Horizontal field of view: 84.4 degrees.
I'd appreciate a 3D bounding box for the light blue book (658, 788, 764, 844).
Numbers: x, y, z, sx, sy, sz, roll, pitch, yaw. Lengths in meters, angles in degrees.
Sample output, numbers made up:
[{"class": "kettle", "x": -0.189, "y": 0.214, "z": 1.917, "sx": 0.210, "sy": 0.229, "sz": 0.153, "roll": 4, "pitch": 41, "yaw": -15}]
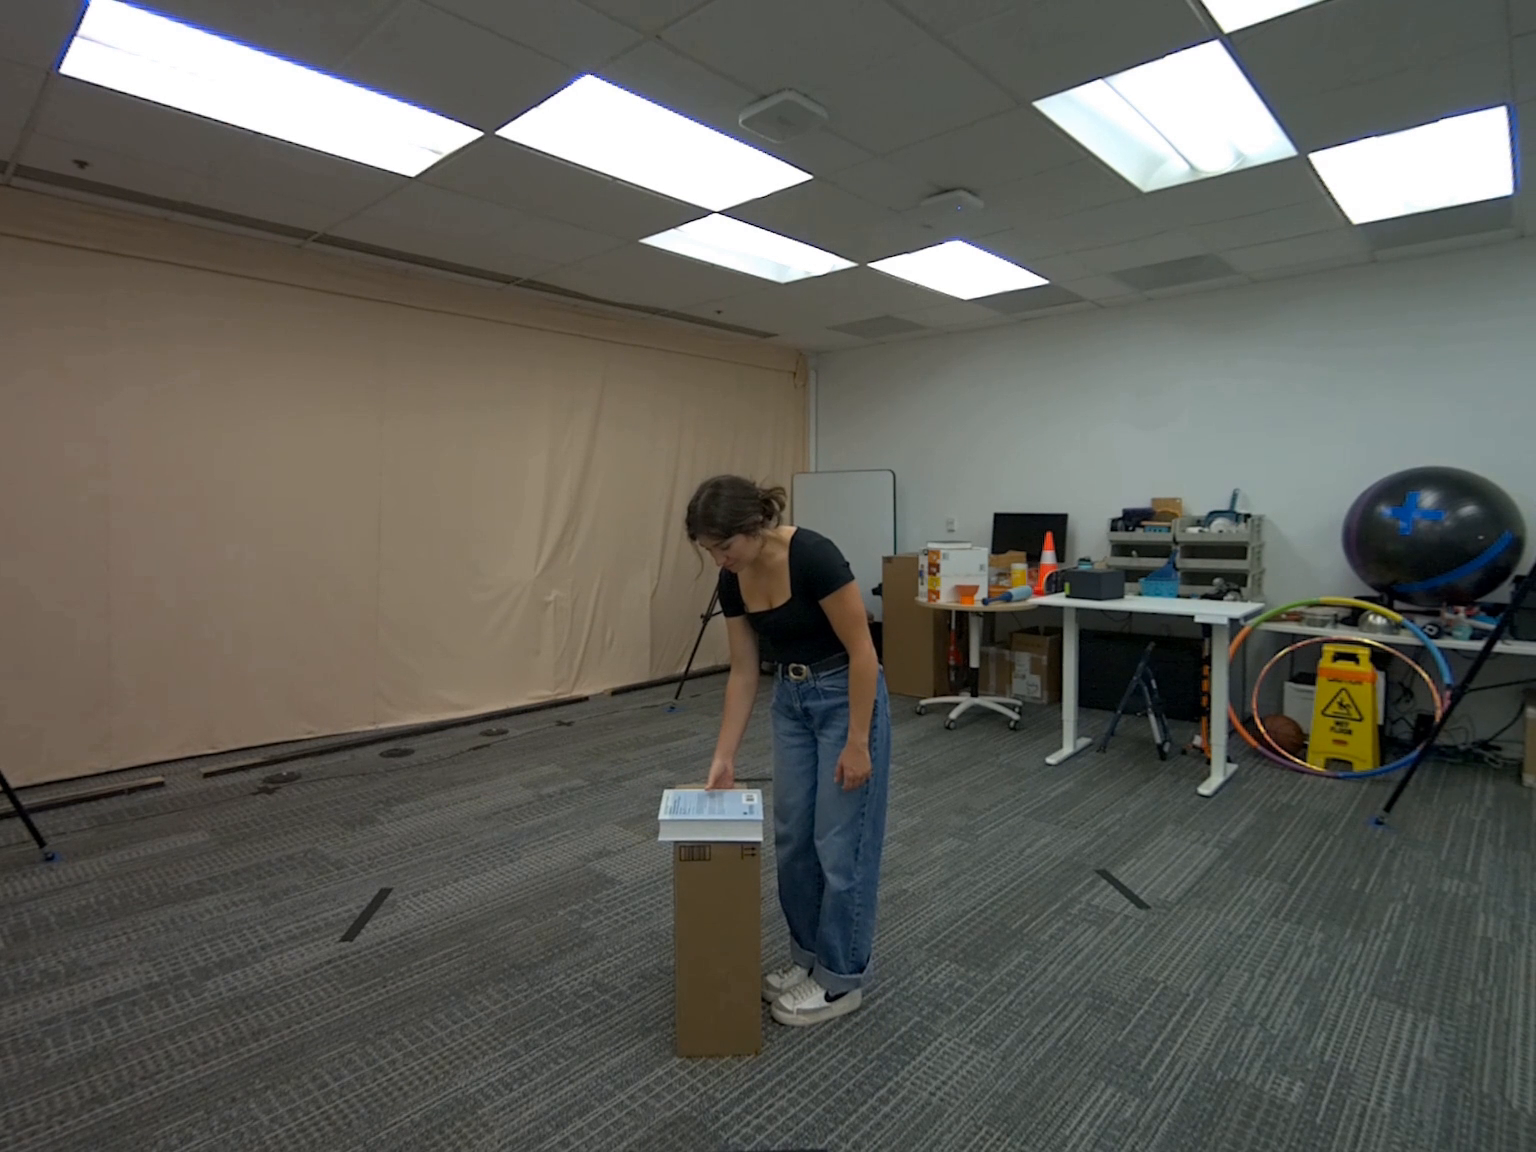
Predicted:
[{"class": "light blue book", "x": -0.137, "y": 0.627, "z": 2.144, "sx": 0.261, "sy": 0.059, "sz": 0.192, "roll": -1, "pitch": 8, "yaw": 0}]
